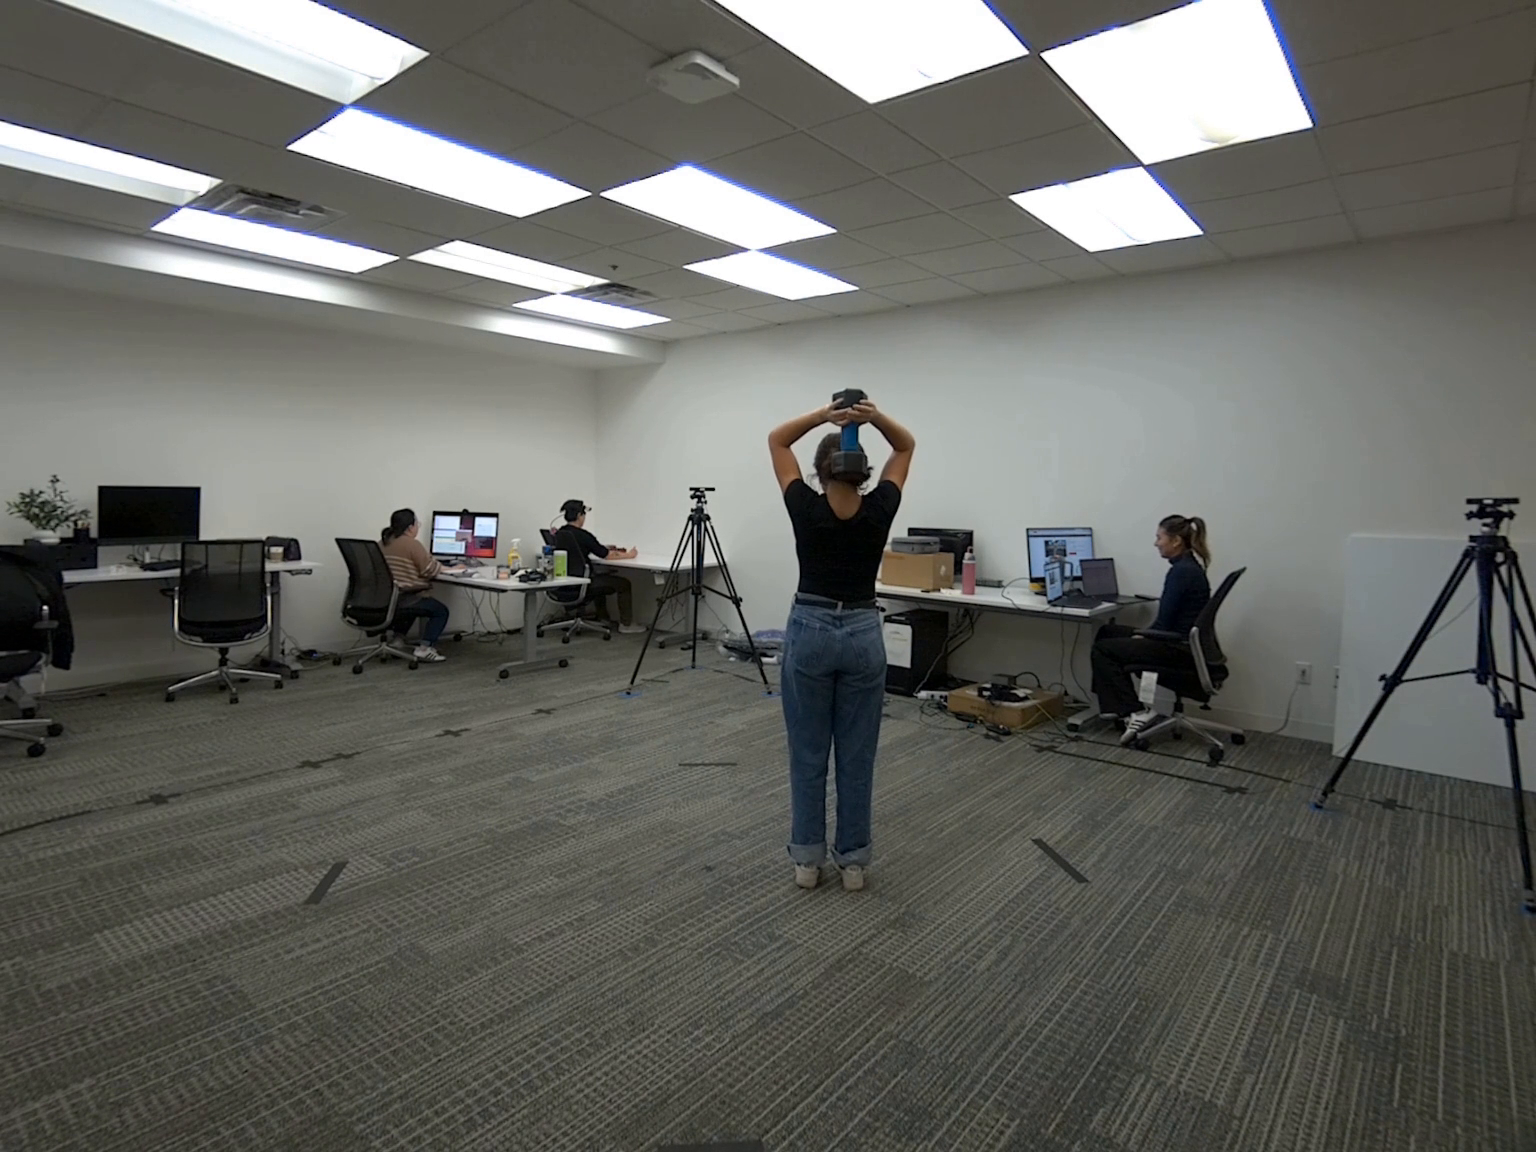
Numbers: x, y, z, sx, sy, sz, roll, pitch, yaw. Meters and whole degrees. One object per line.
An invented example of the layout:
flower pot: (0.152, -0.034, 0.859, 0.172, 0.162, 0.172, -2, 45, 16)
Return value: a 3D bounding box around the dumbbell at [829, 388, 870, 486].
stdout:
dumbbell: (0.266, -0.480, 2.856, 0.111, 0.296, 0.119, -2, -8, 26)
